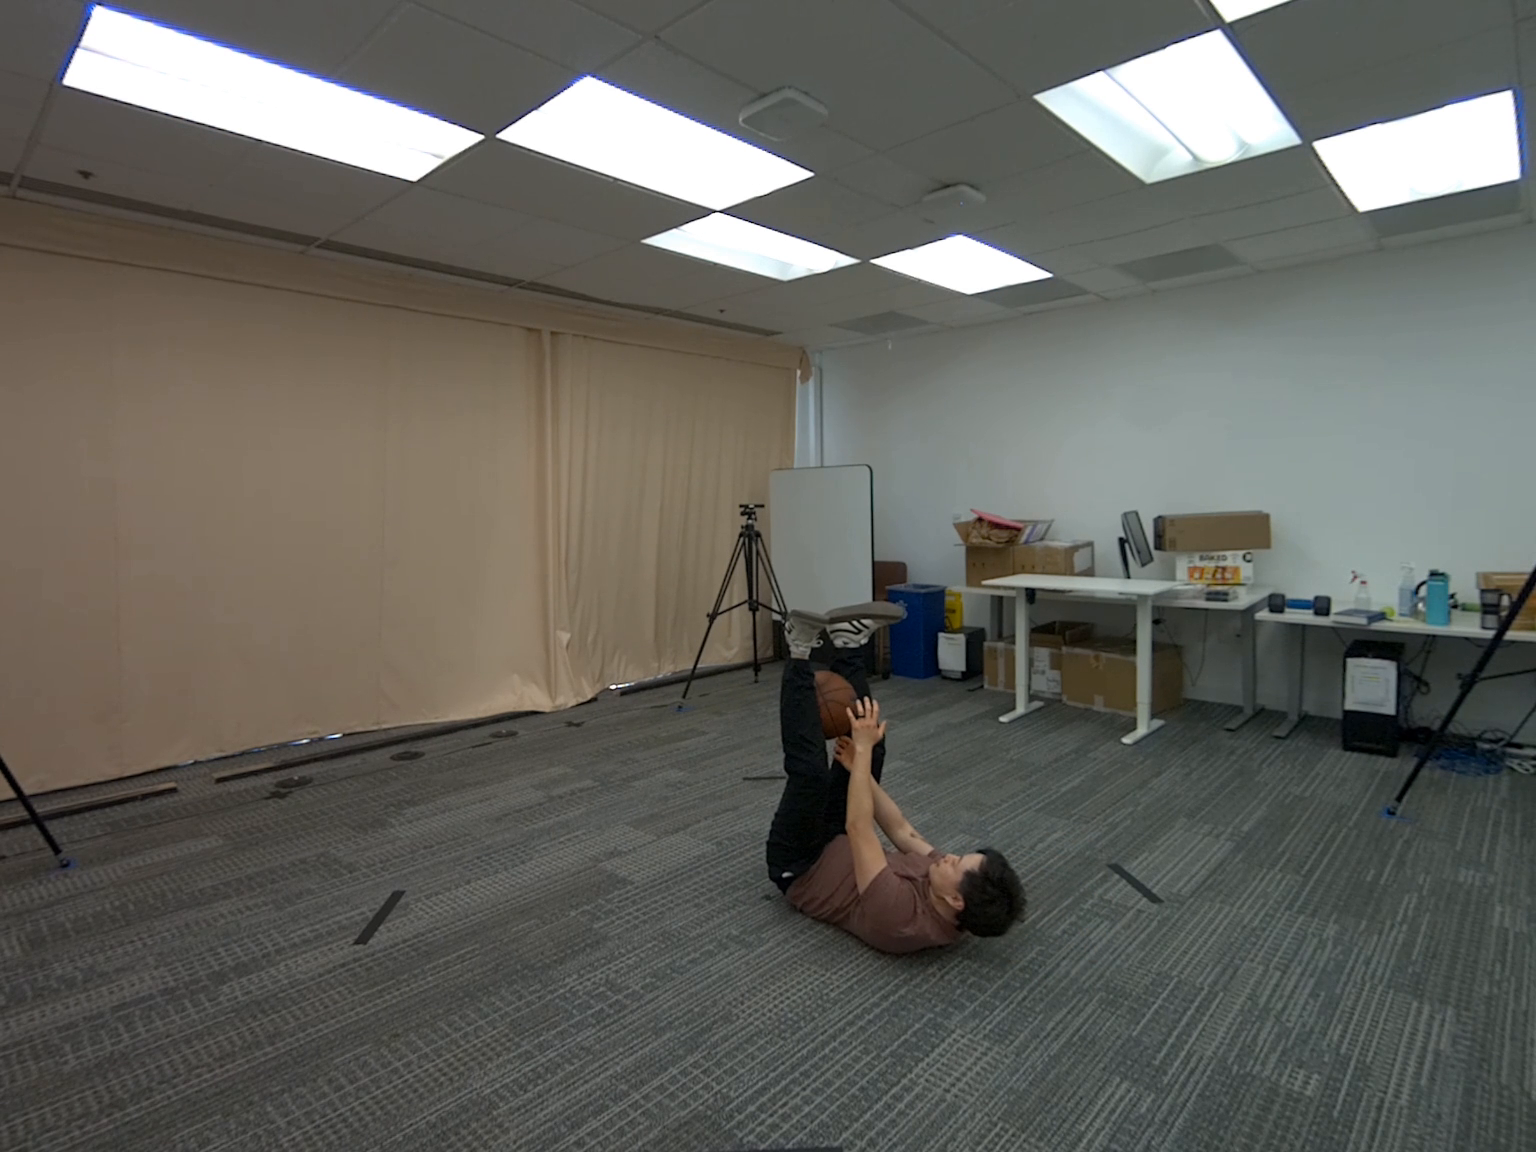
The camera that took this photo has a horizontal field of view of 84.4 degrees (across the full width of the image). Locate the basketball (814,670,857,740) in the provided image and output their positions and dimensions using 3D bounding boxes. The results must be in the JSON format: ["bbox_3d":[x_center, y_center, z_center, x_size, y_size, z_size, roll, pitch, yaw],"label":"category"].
[{"bbox_3d":[0.194,0.453,2.936,0.236,0.235,0.236,-1,3,-2],"label":"basketball"}]
